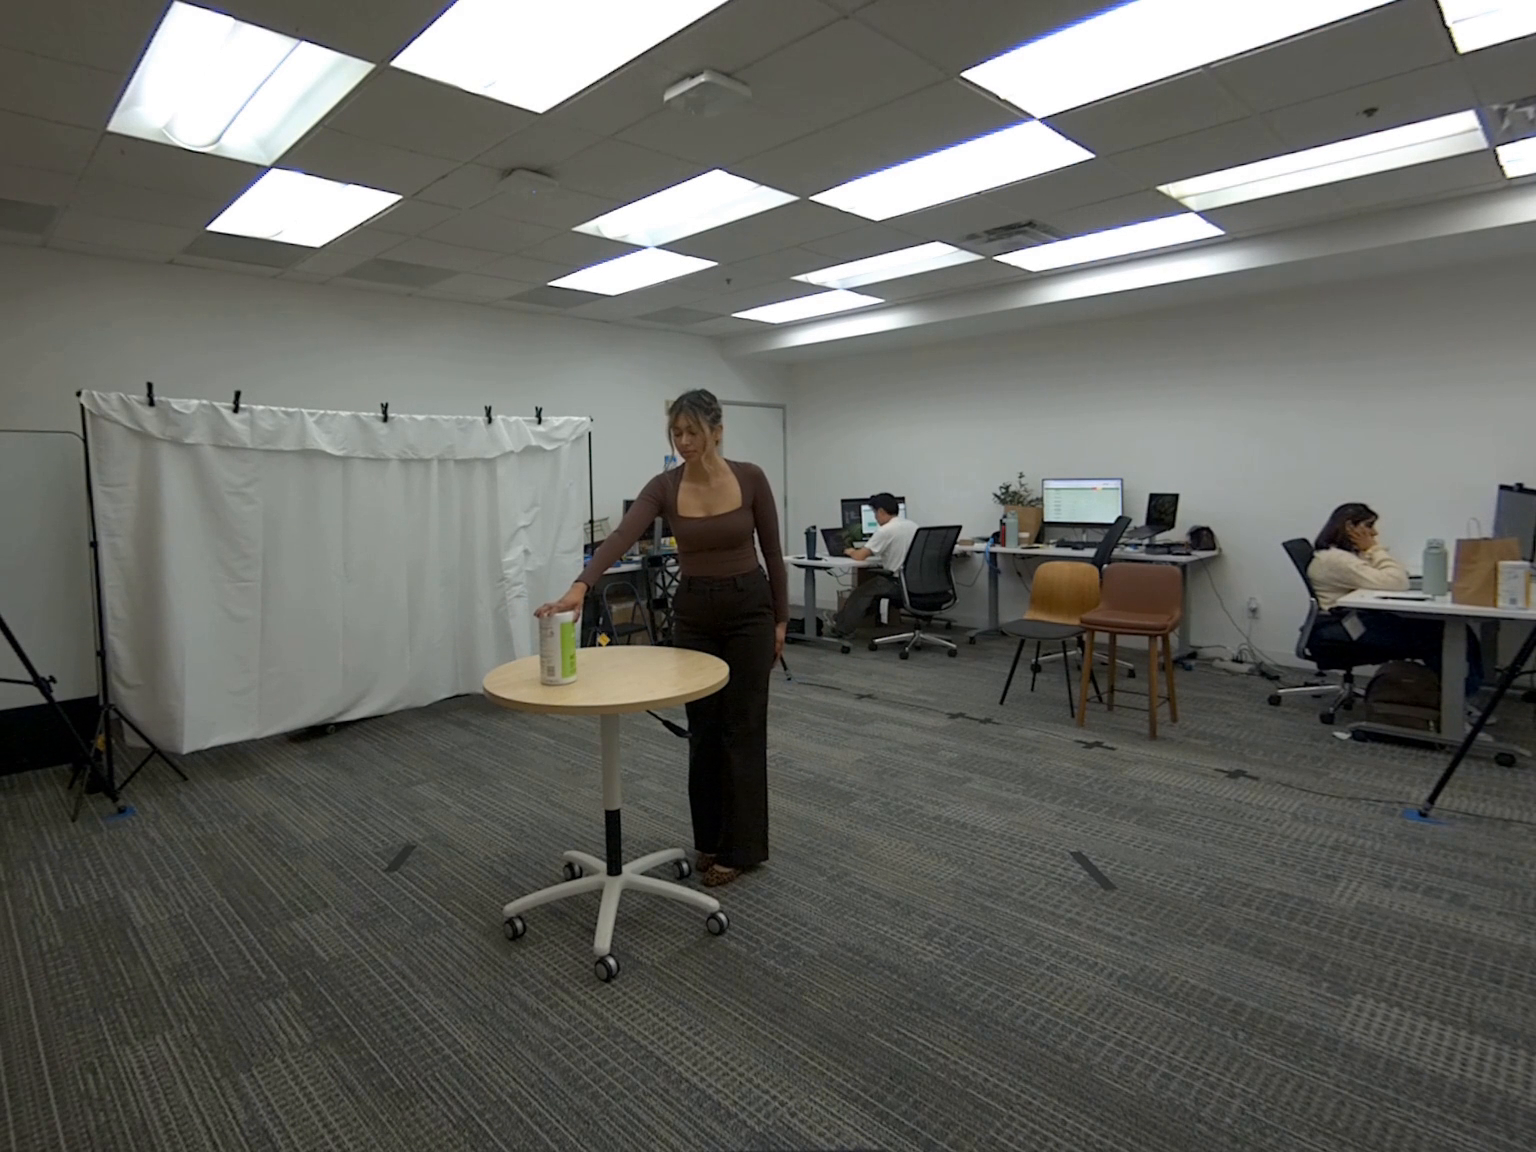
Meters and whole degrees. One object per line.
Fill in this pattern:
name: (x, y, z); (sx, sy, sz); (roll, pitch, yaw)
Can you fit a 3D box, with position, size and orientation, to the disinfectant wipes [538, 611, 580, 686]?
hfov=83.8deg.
disinfectant wipes: (-0.635, 0.215, 2.573); (0.118, 0.217, 0.118); (-1, 2, -2)
